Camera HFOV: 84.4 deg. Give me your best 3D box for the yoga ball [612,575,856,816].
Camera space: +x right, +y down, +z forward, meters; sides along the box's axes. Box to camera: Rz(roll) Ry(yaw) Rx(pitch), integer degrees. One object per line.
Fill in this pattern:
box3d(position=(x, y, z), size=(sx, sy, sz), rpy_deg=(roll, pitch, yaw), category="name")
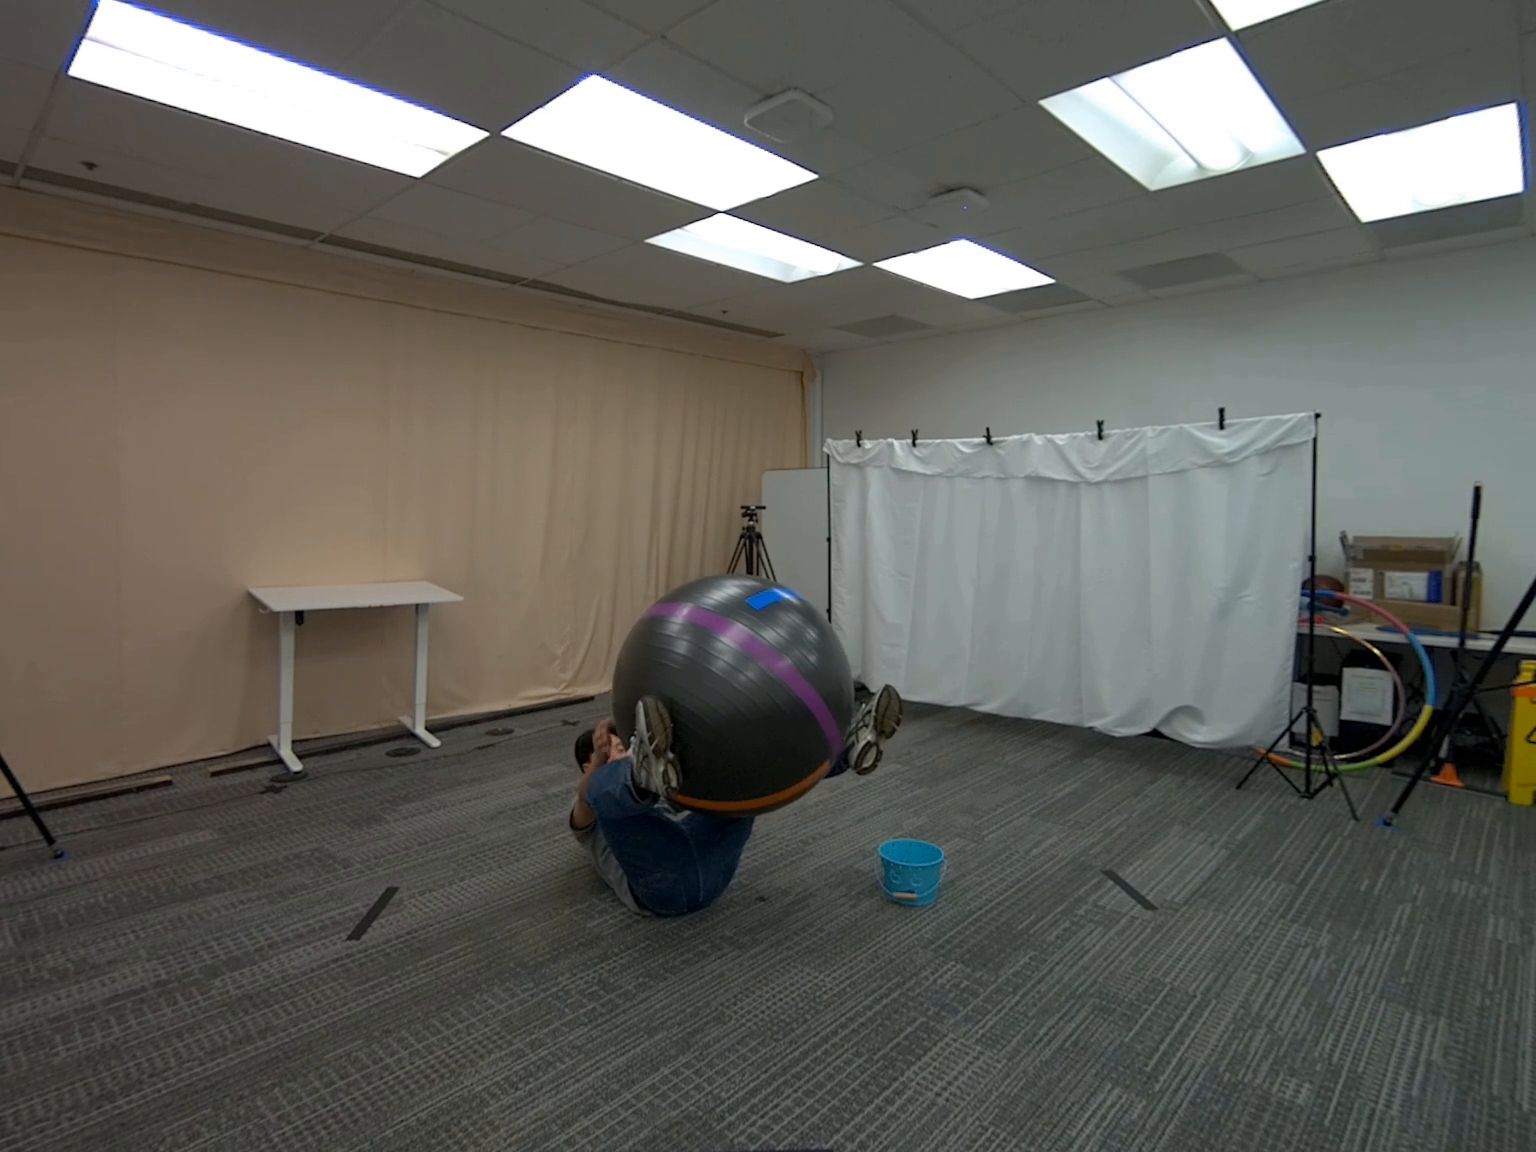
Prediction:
box3d(position=(-0.118, 0.377, 2.677), size=(0.757, 0.756, 0.761), rpy_deg=(0, 4, -2), category="yoga ball")
